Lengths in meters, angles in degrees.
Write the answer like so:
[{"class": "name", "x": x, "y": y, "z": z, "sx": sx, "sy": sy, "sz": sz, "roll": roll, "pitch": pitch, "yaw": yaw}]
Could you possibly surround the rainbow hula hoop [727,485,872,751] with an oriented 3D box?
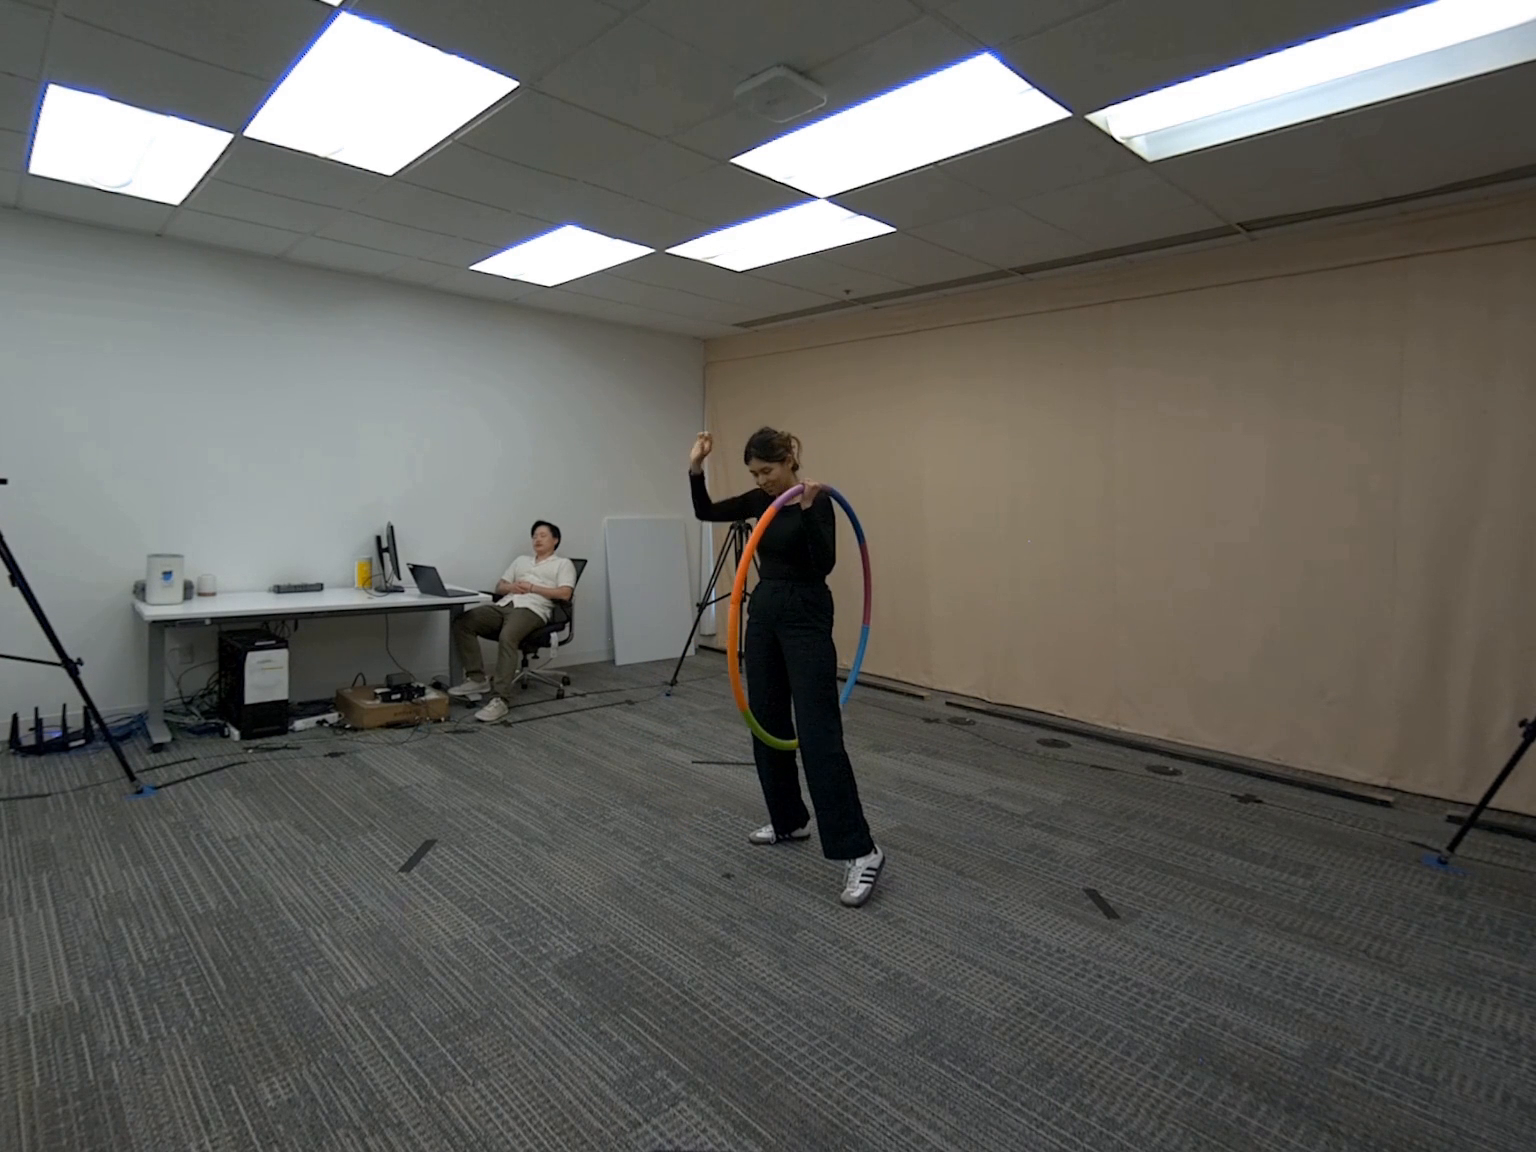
[{"class": "rainbow hula hoop", "x": 0.140, "y": 0.145, "z": 3.138, "sx": 0.036, "sy": 0.975, "sz": 0.958, "roll": 6, "pitch": 6, "yaw": 34}]
